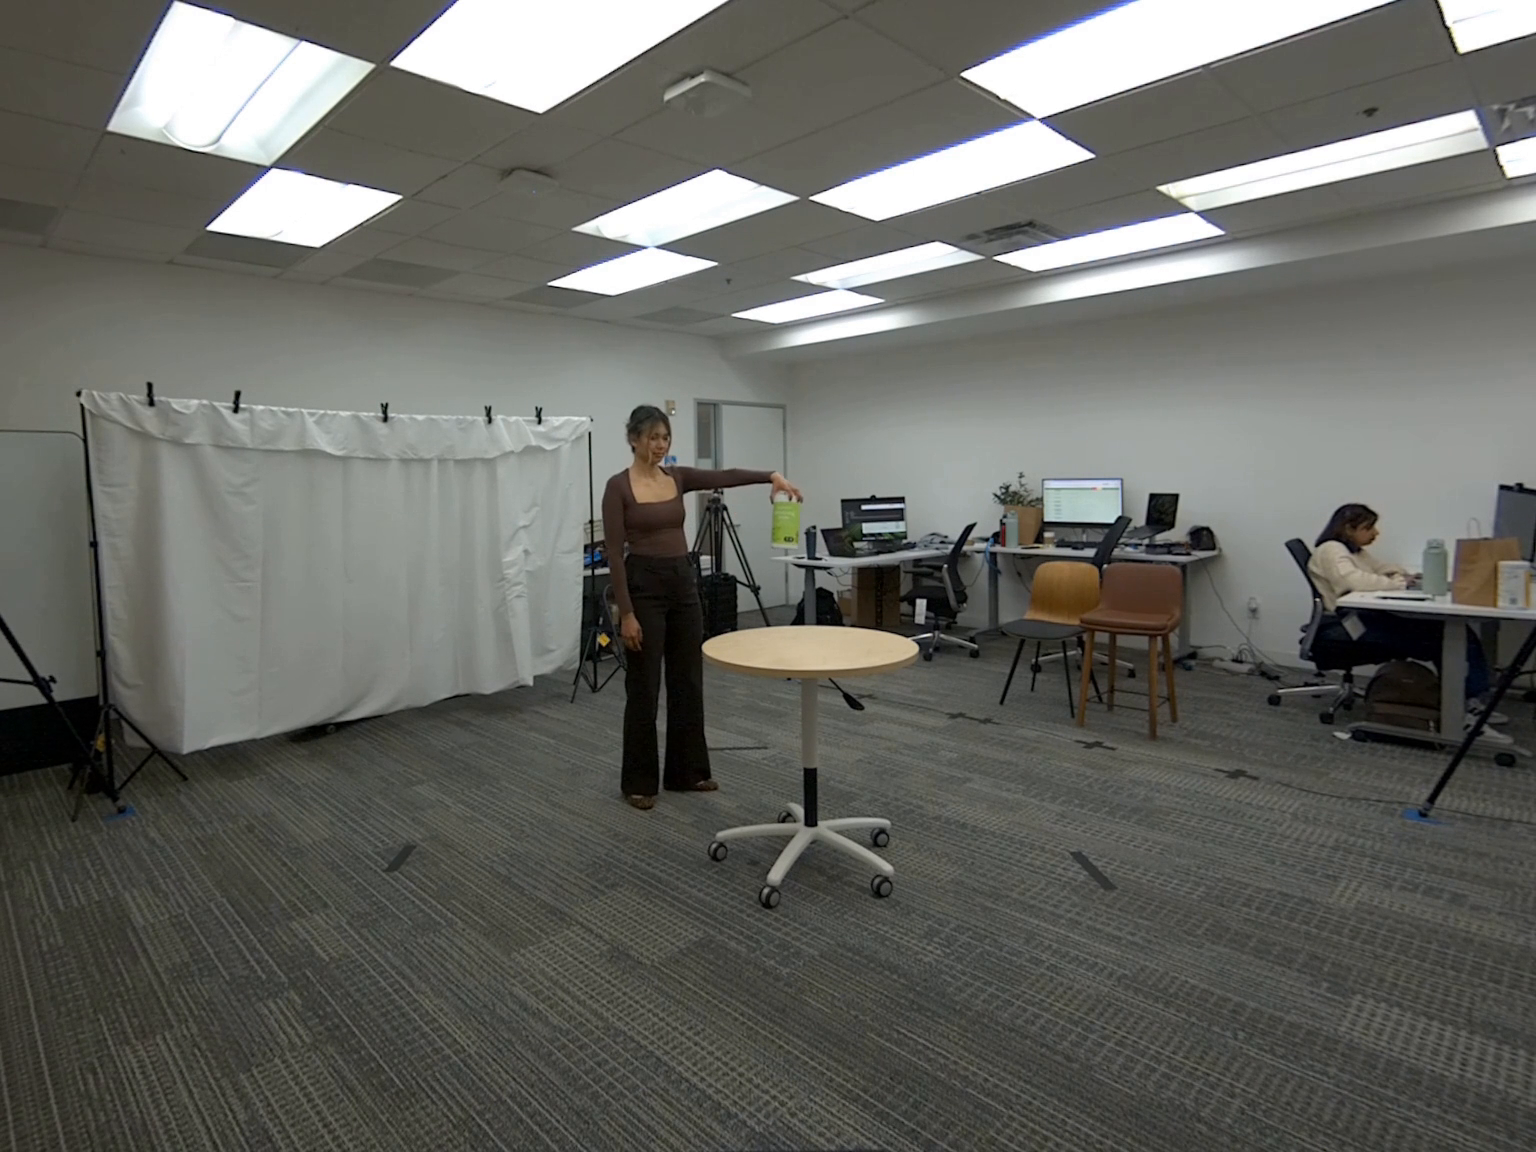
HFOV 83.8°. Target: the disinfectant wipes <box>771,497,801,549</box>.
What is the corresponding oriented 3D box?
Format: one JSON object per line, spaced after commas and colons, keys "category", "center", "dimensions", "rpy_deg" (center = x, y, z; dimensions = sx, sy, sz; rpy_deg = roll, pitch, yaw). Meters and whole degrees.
{"category": "disinfectant wipes", "center": [0.068, -0.215, 3.450], "dimensions": [0.117, 0.217, 0.118], "rpy_deg": [4, 3, -2]}
